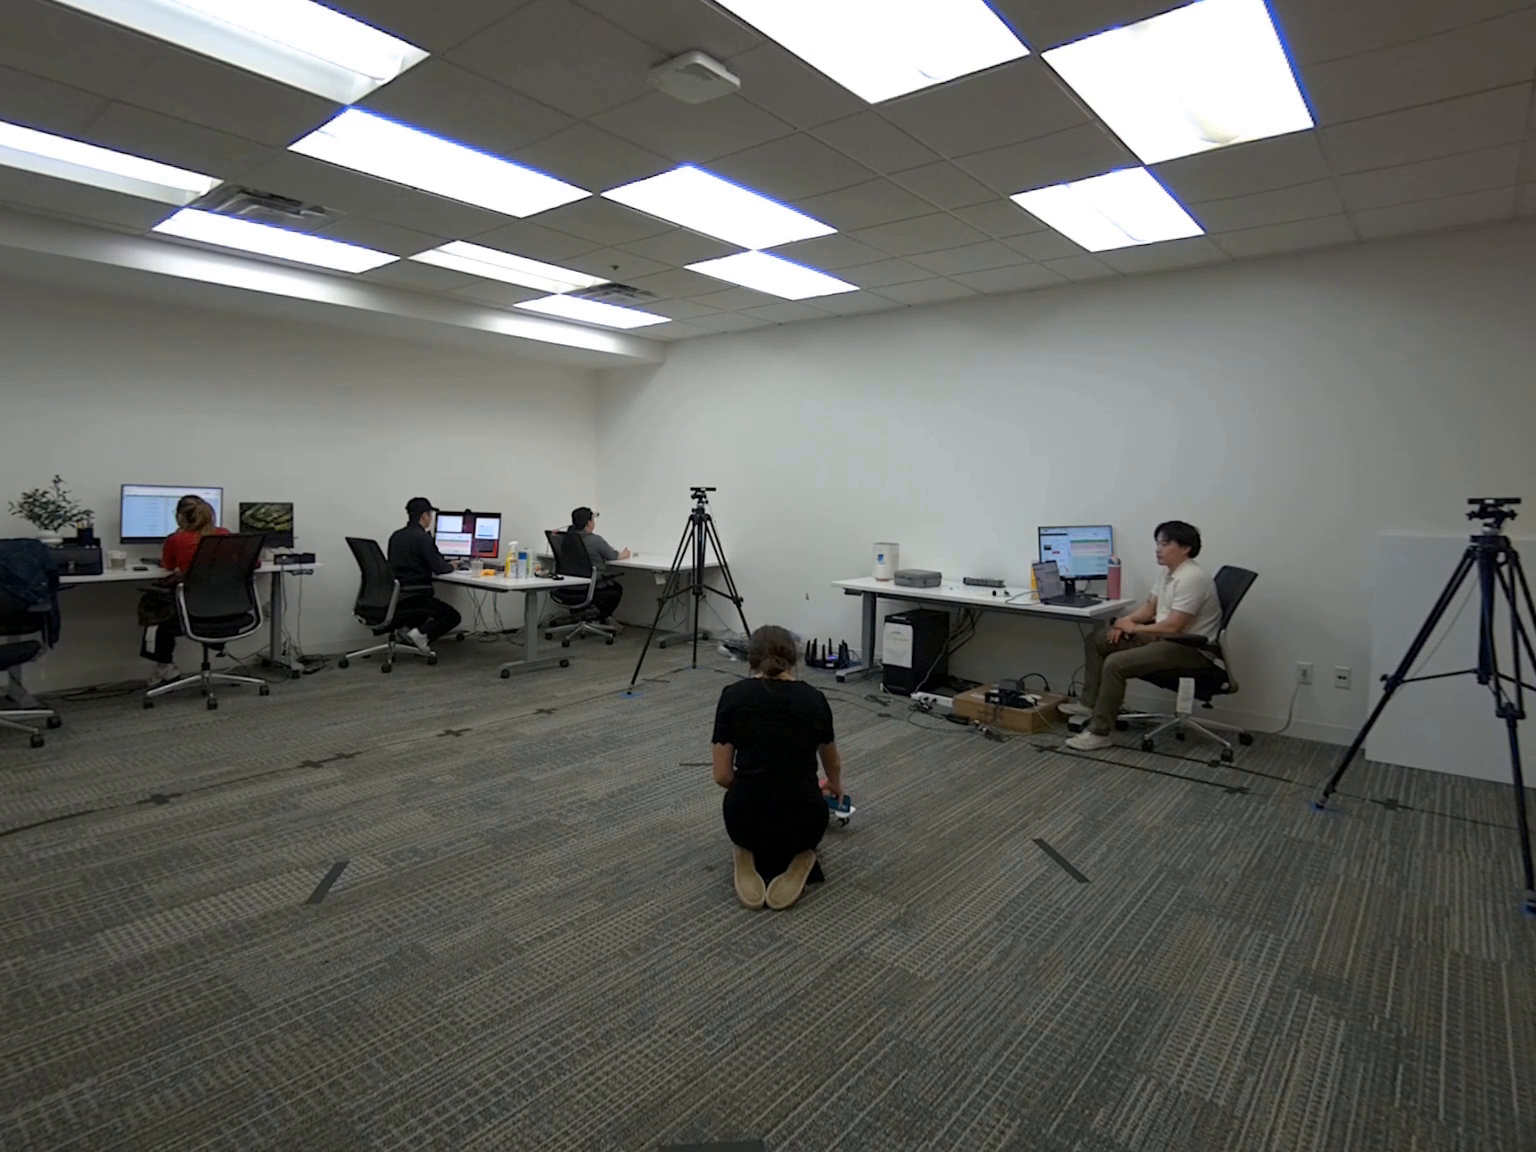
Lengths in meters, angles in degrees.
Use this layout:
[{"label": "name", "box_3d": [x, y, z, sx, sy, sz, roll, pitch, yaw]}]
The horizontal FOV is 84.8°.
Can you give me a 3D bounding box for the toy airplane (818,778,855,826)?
[{"label": "toy airplane", "box_3d": [0.224, 0.945, 3.553, 0.261, 0.156, 0.249, -5, 1, 6]}]
